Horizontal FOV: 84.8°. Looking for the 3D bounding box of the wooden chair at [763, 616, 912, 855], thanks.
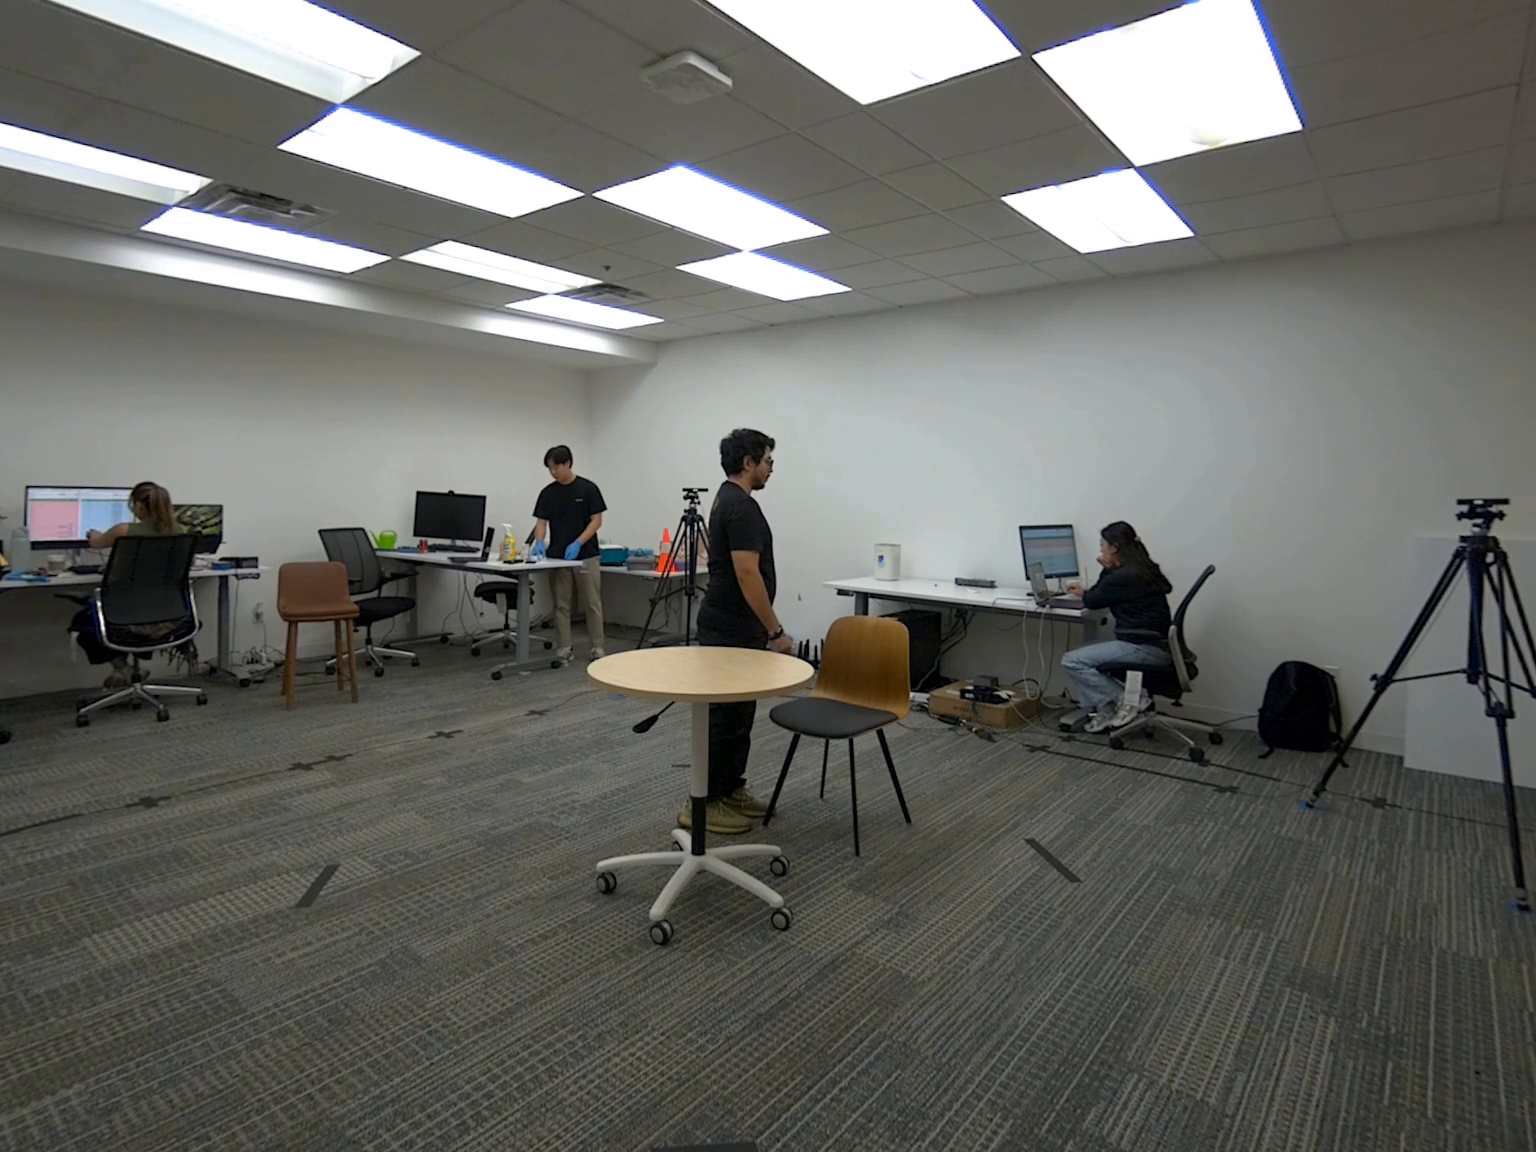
[{"bbox_3d":[0.291,0.611,3.526,0.494,0.877,0.506,5,0,37],"label":"wooden chair"}]
